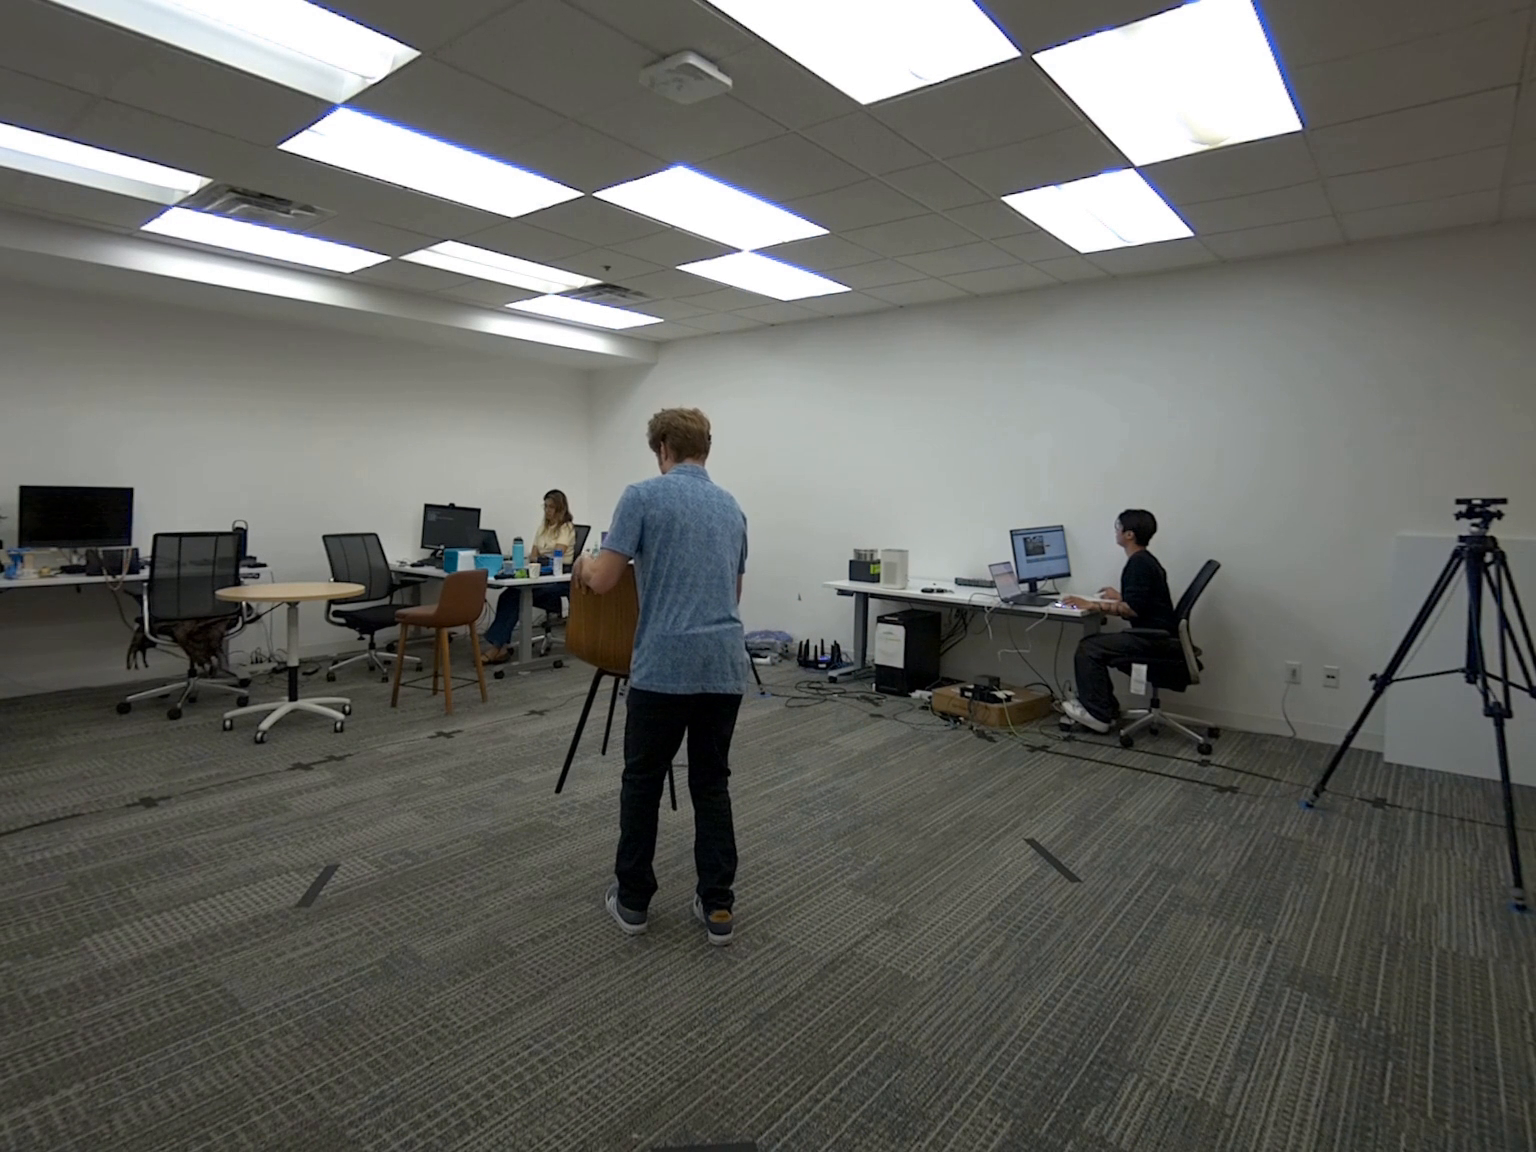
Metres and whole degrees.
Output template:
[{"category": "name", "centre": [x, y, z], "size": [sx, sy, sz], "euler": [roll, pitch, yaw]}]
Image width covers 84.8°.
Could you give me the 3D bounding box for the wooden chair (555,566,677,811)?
[{"category": "wooden chair", "centre": [-0.488, 0.335, 3.149], "size": [0.485, 0.871, 0.519], "euler": [3, 8, 13]}]
